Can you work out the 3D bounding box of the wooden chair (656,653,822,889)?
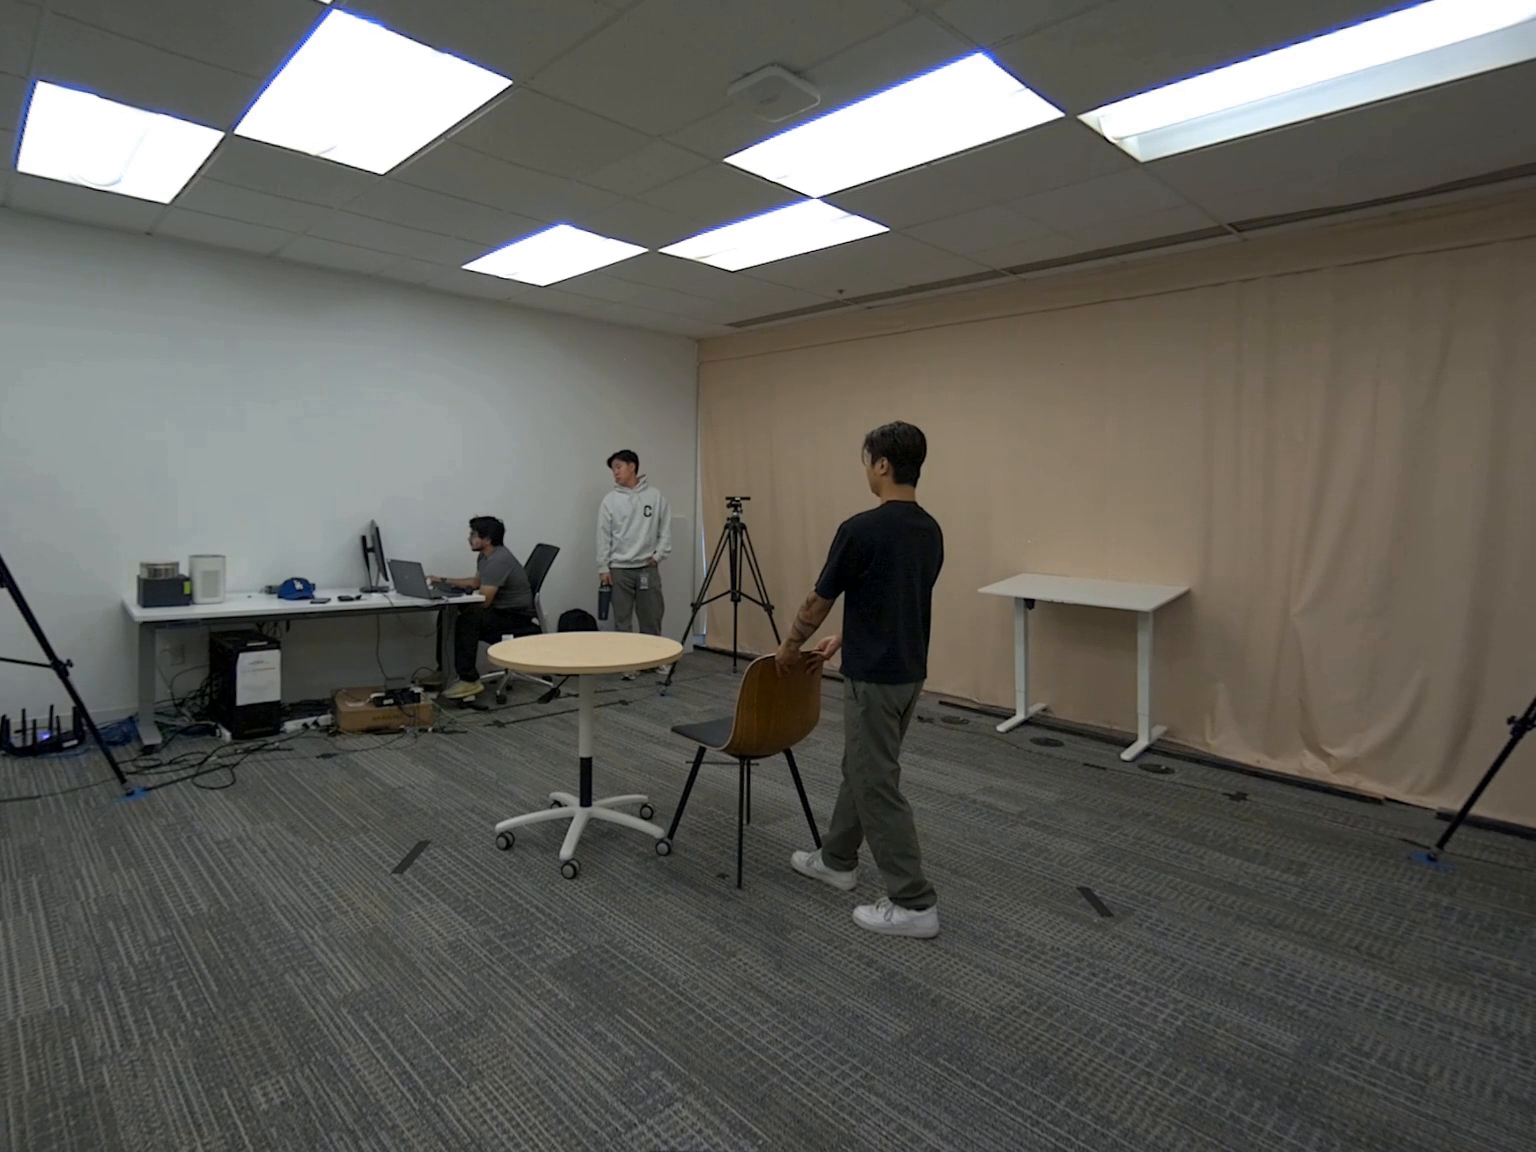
[{"bbox_3d":[-0.094,0.661,3.284,0.467,0.873,0.538,-1,9,-42],"label":"wooden chair"}]
